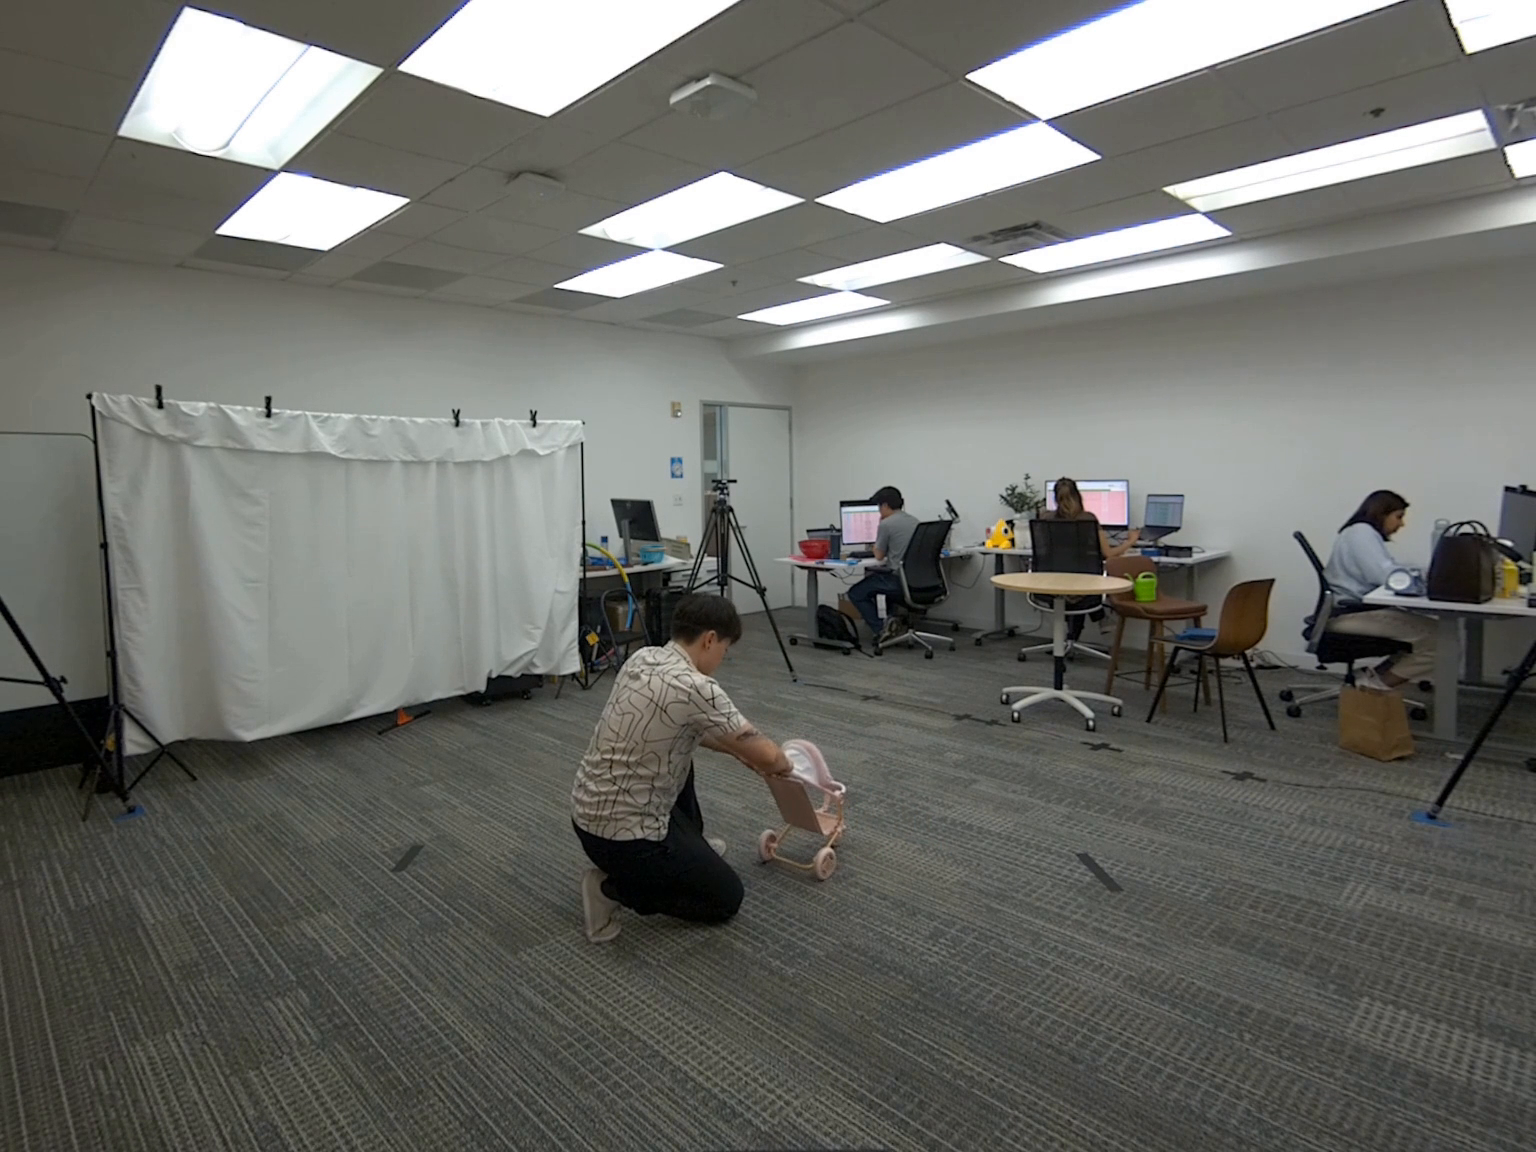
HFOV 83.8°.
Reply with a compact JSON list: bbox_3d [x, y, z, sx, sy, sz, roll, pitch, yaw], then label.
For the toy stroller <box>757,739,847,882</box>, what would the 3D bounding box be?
[{"bbox_3d":[0.130,0.816,3.094,0.290,0.526,0.337,4,22,43],"label":"toy stroller"}]
